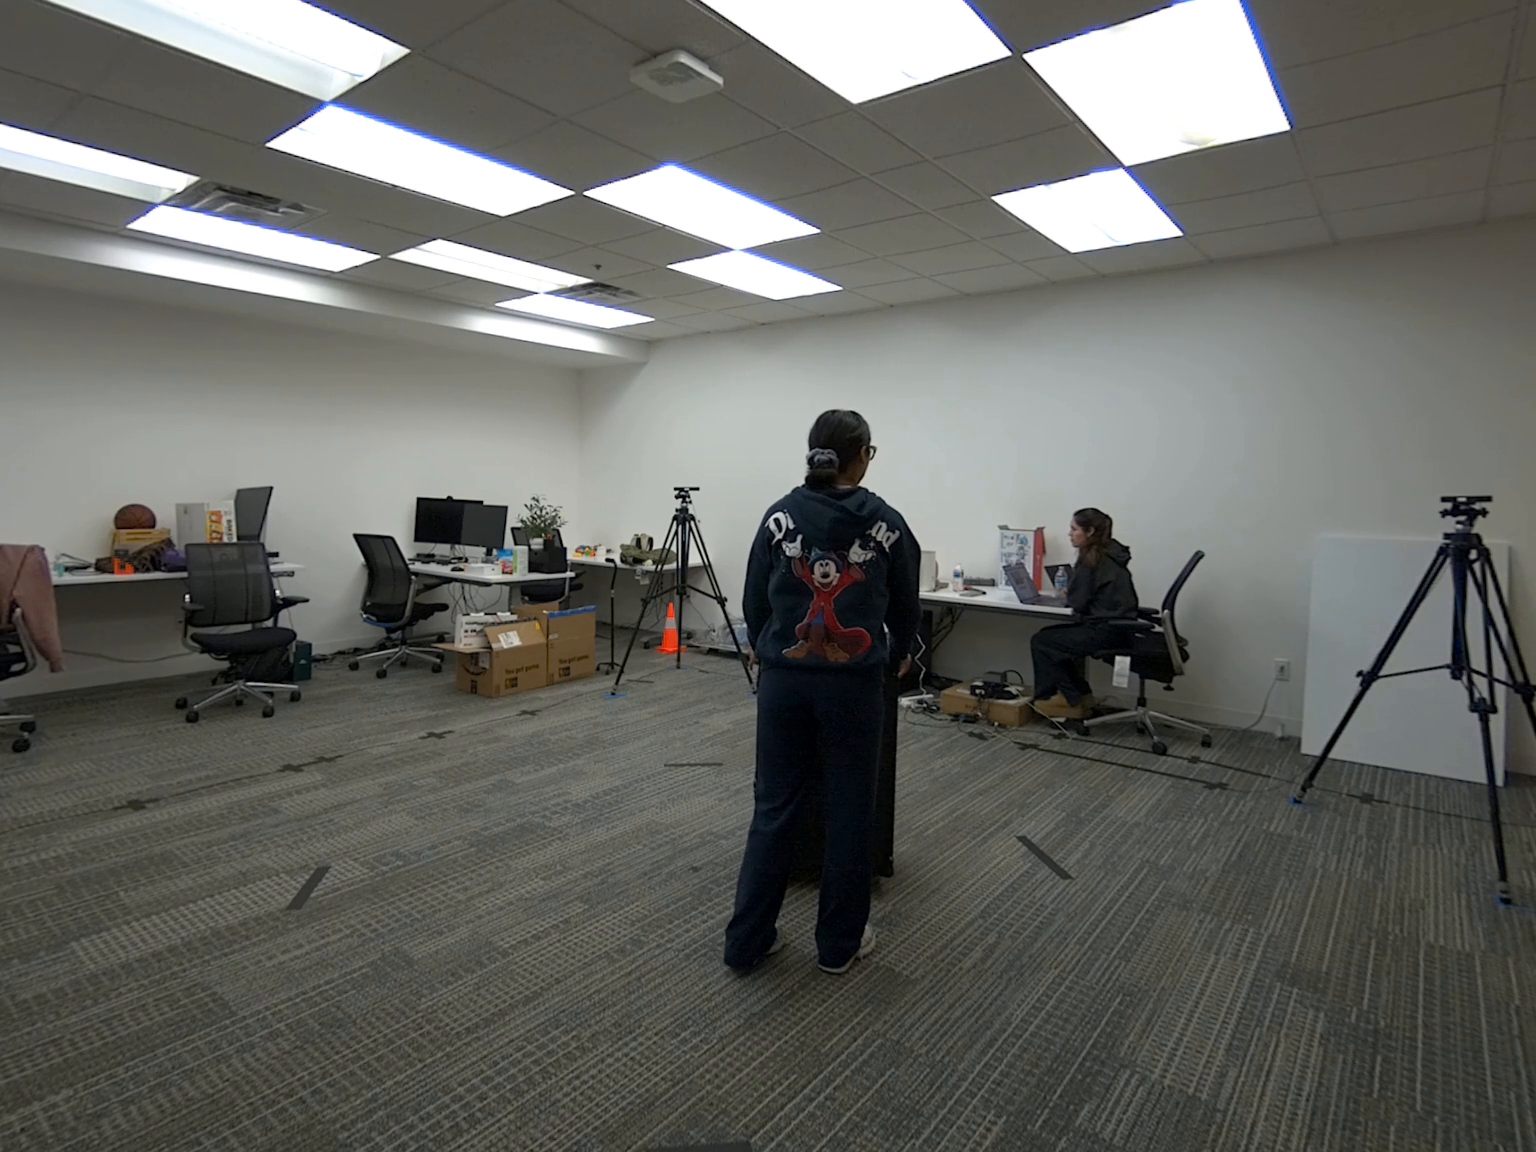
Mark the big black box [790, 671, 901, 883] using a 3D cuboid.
[{"bbox_3d":[0.199,0.651,3.082,0.525,0.858,0.395,1,5,5],"label":"big black box"}]
